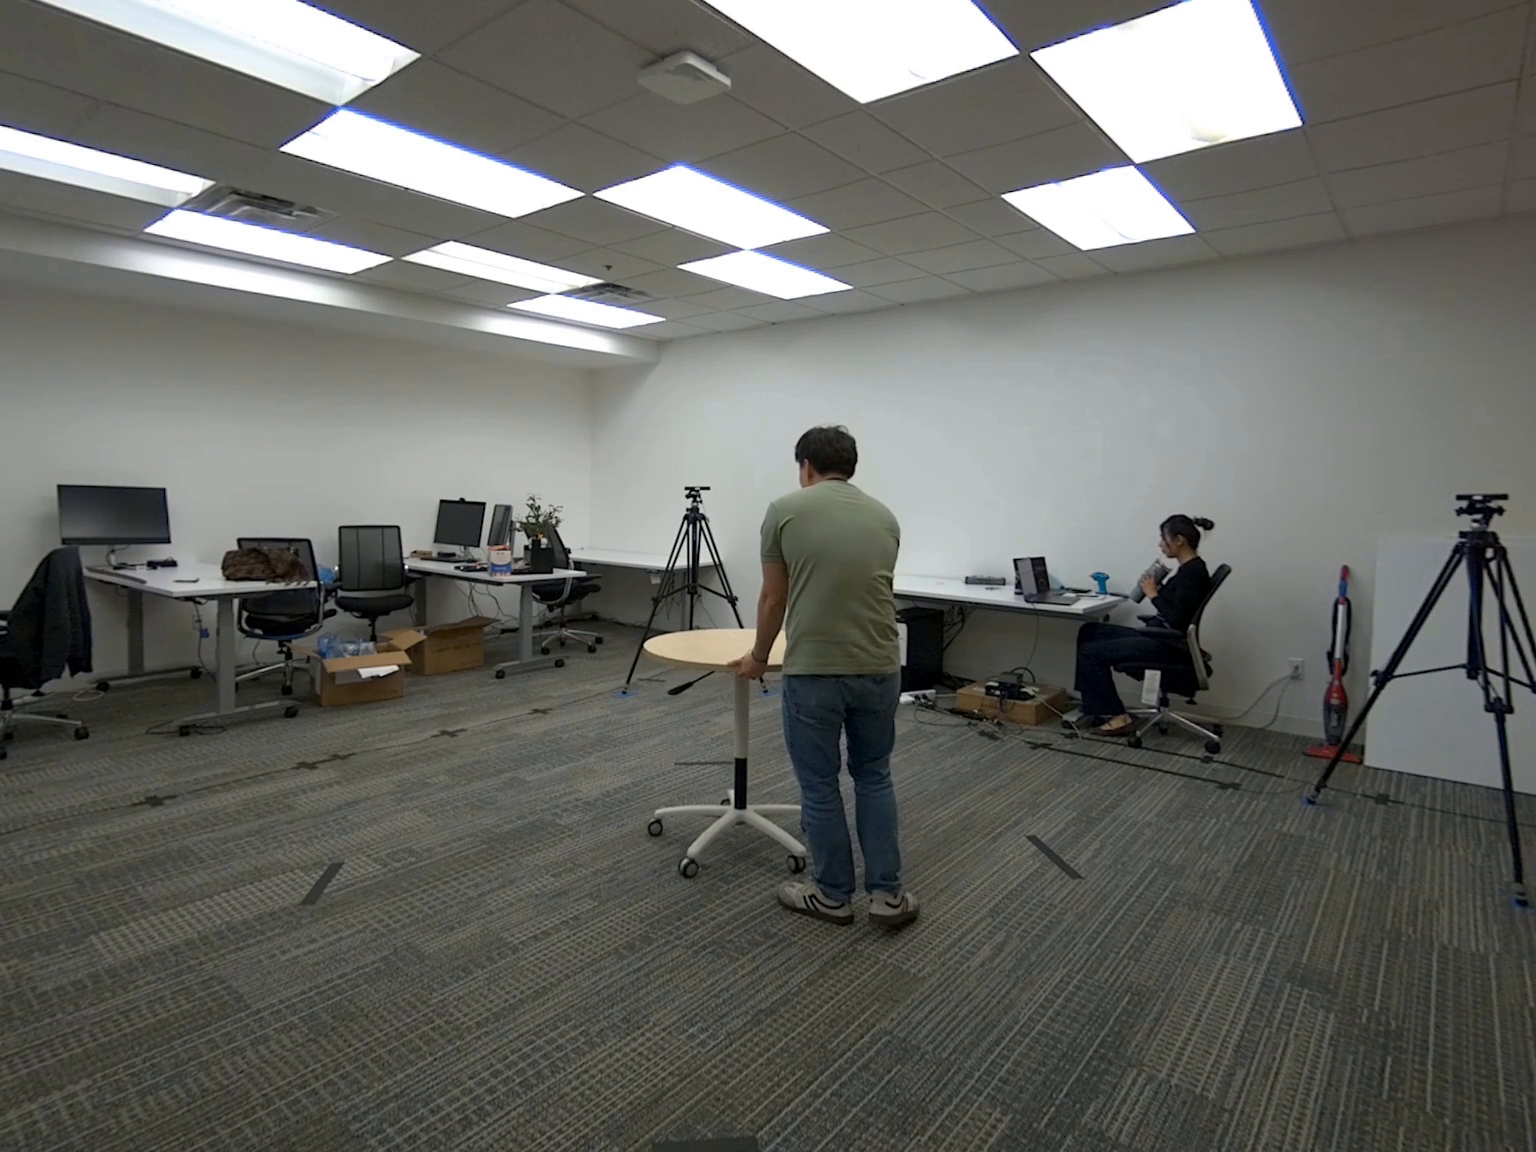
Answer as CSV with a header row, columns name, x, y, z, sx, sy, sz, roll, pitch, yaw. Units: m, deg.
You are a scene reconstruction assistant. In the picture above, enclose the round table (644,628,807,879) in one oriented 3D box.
name,x,y,z,sx,sy,sz,roll,pitch,yaw
round table,-0.119,0.656,3.320,0.763,0.791,0.768,1,4,-2
